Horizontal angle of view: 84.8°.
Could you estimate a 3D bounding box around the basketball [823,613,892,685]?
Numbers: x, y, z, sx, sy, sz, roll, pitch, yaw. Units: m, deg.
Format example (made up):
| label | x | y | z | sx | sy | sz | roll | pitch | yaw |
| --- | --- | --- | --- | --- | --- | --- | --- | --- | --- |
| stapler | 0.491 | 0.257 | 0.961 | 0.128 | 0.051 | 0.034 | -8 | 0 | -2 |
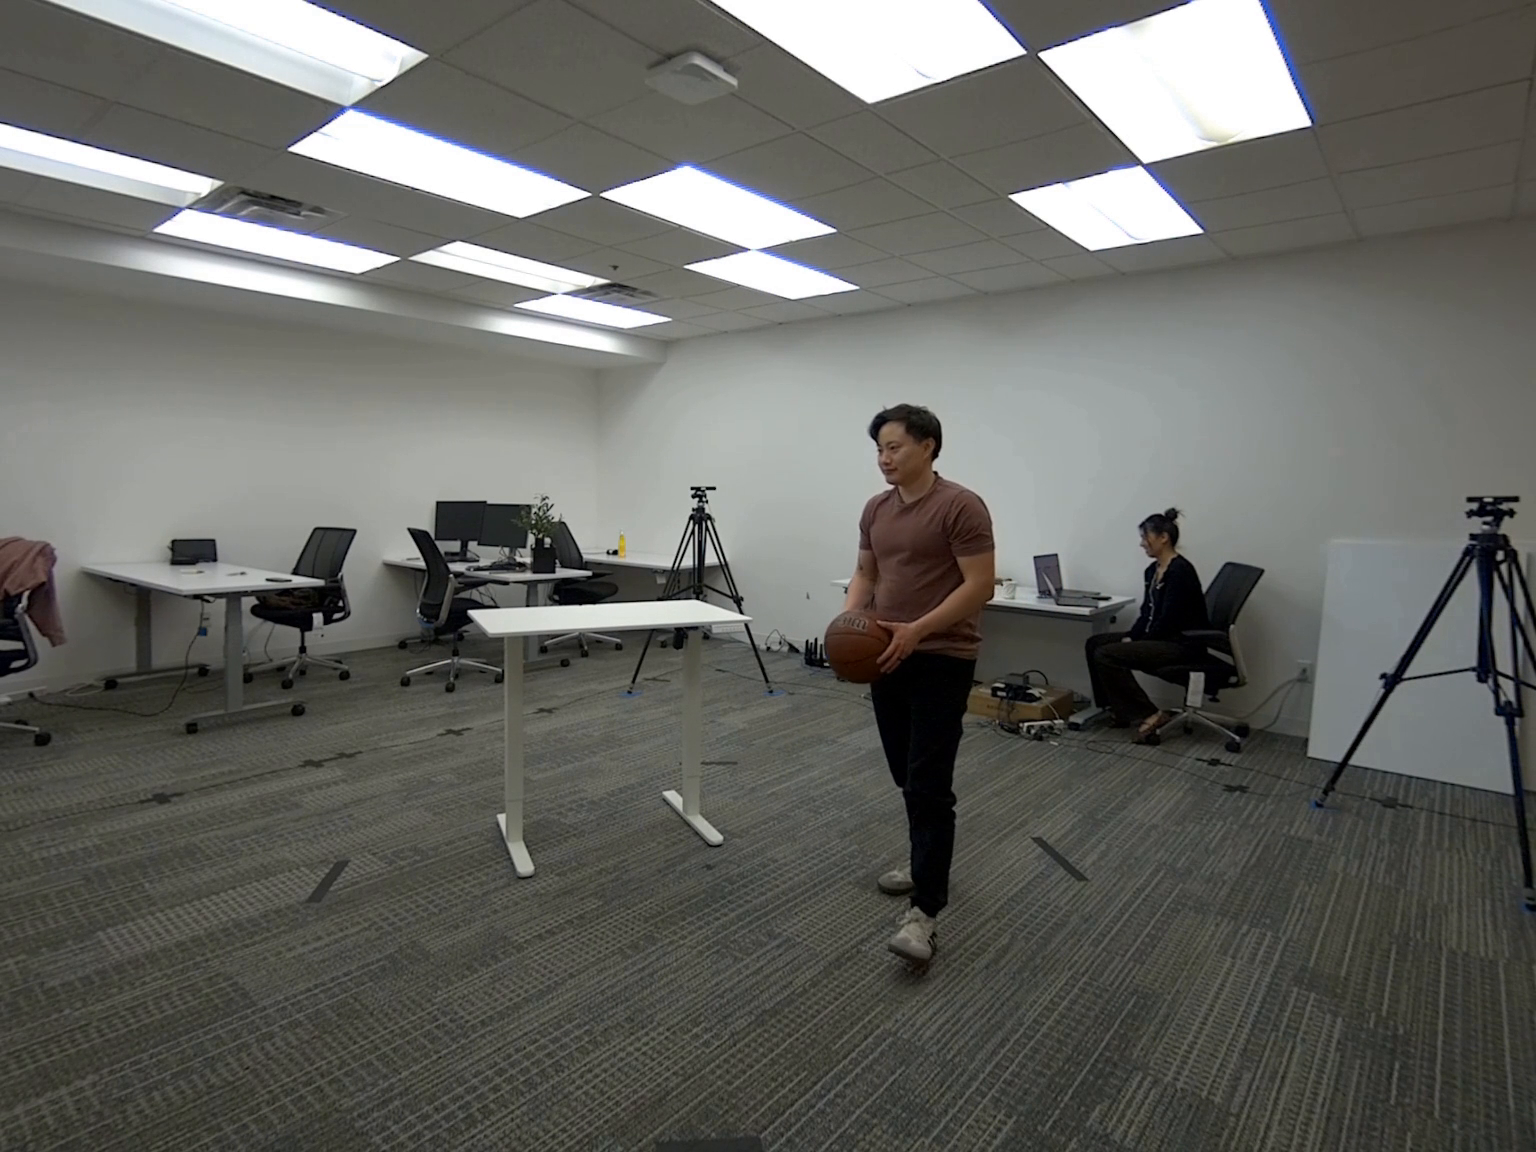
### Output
| label | x | y | z | sx | sy | sz | roll | pitch | yaw |
| --- | --- | --- | --- | --- | --- | --- | --- | --- | --- |
| basketball | 0.293 | 0.215 | 2.703 | 0.235 | 0.235 | 0.237 | 1 | 4 | -2 |
